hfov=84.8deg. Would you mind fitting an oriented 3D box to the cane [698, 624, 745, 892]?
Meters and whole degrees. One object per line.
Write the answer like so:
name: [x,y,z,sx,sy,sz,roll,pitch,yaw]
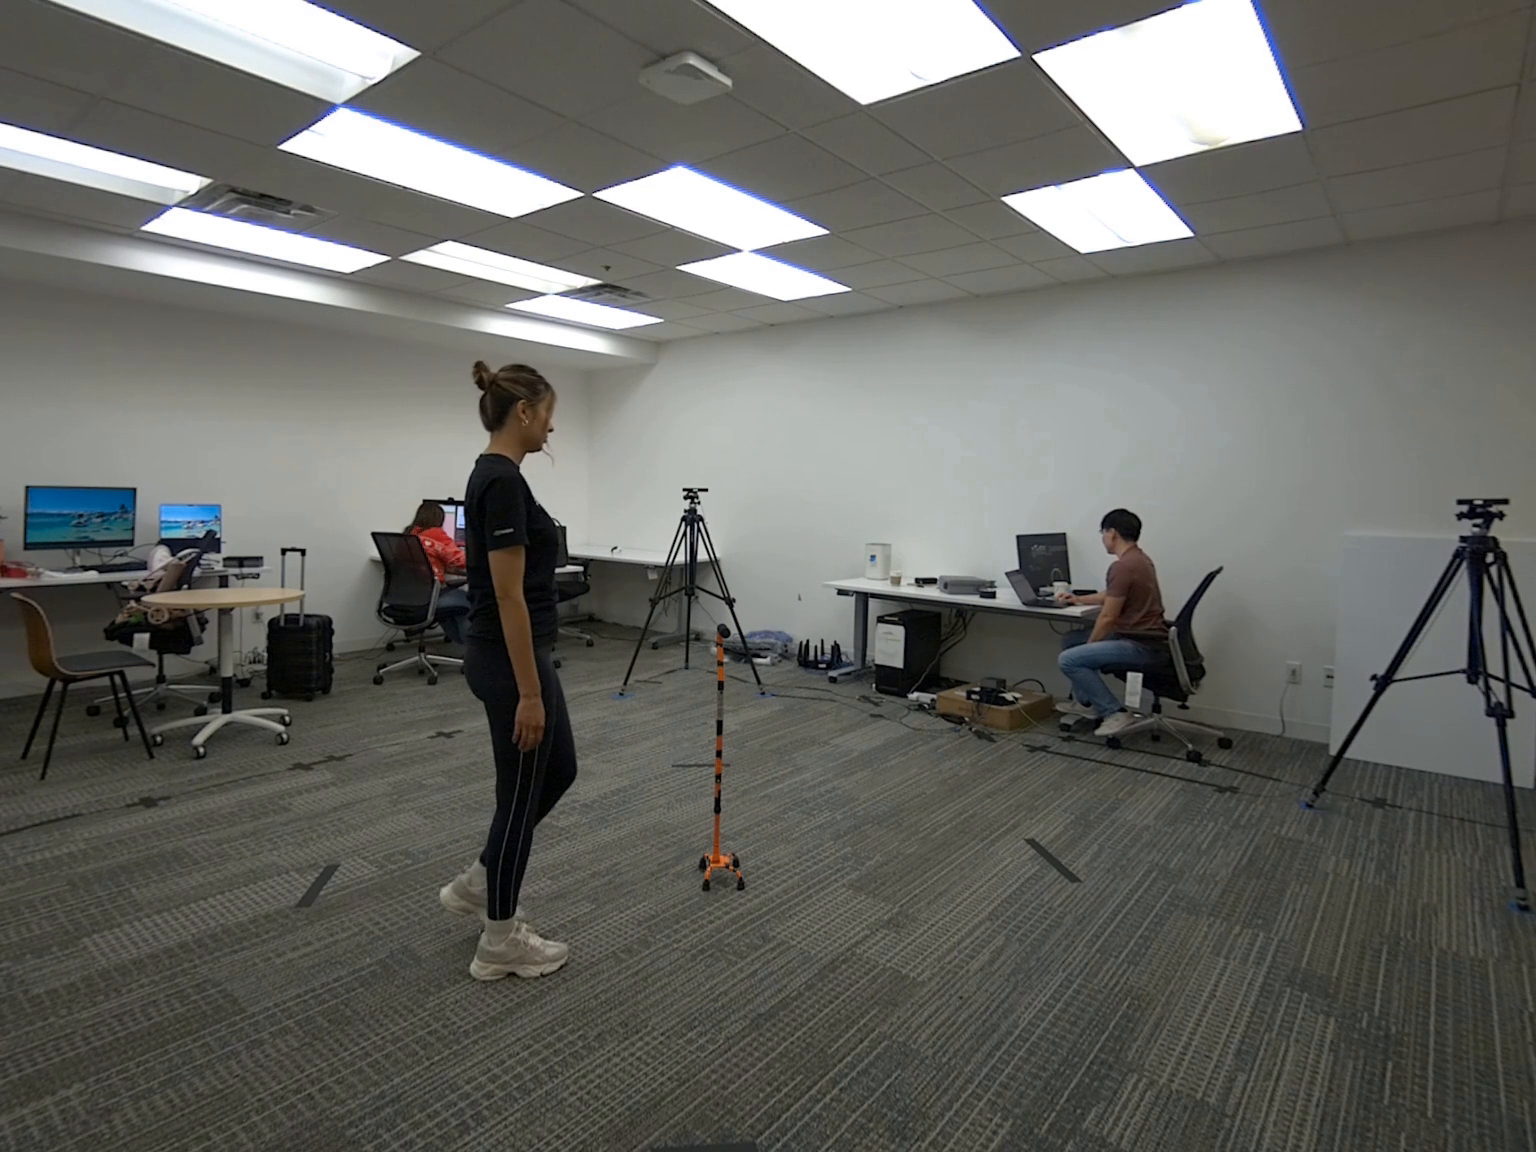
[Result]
cane: [-0.168,0.625,3.025,0.150,0.906,0.208,1,2,-8]
